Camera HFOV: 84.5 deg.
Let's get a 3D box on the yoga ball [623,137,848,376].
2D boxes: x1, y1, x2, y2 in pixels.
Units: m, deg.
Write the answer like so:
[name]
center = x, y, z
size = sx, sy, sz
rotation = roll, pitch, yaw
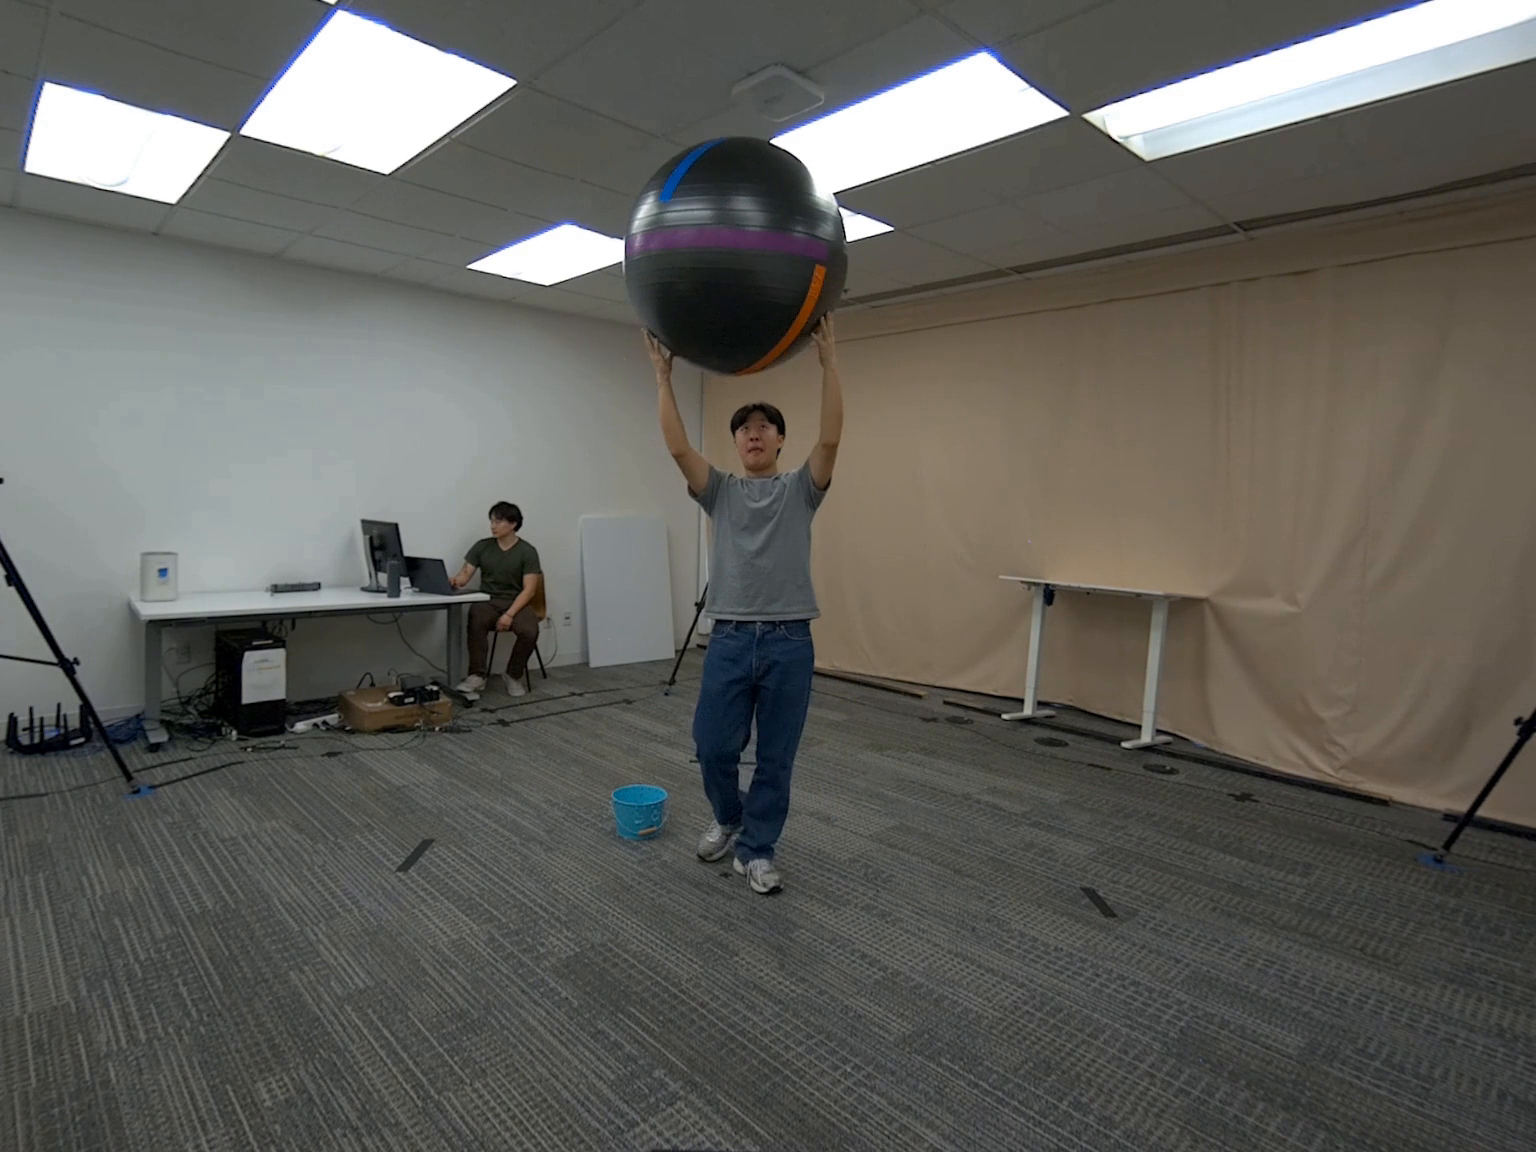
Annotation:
[yoga ball]
center = -0.111, -1.057, 2.847
size = 0.757, 0.756, 0.761
rotation = 1, 4, -1
